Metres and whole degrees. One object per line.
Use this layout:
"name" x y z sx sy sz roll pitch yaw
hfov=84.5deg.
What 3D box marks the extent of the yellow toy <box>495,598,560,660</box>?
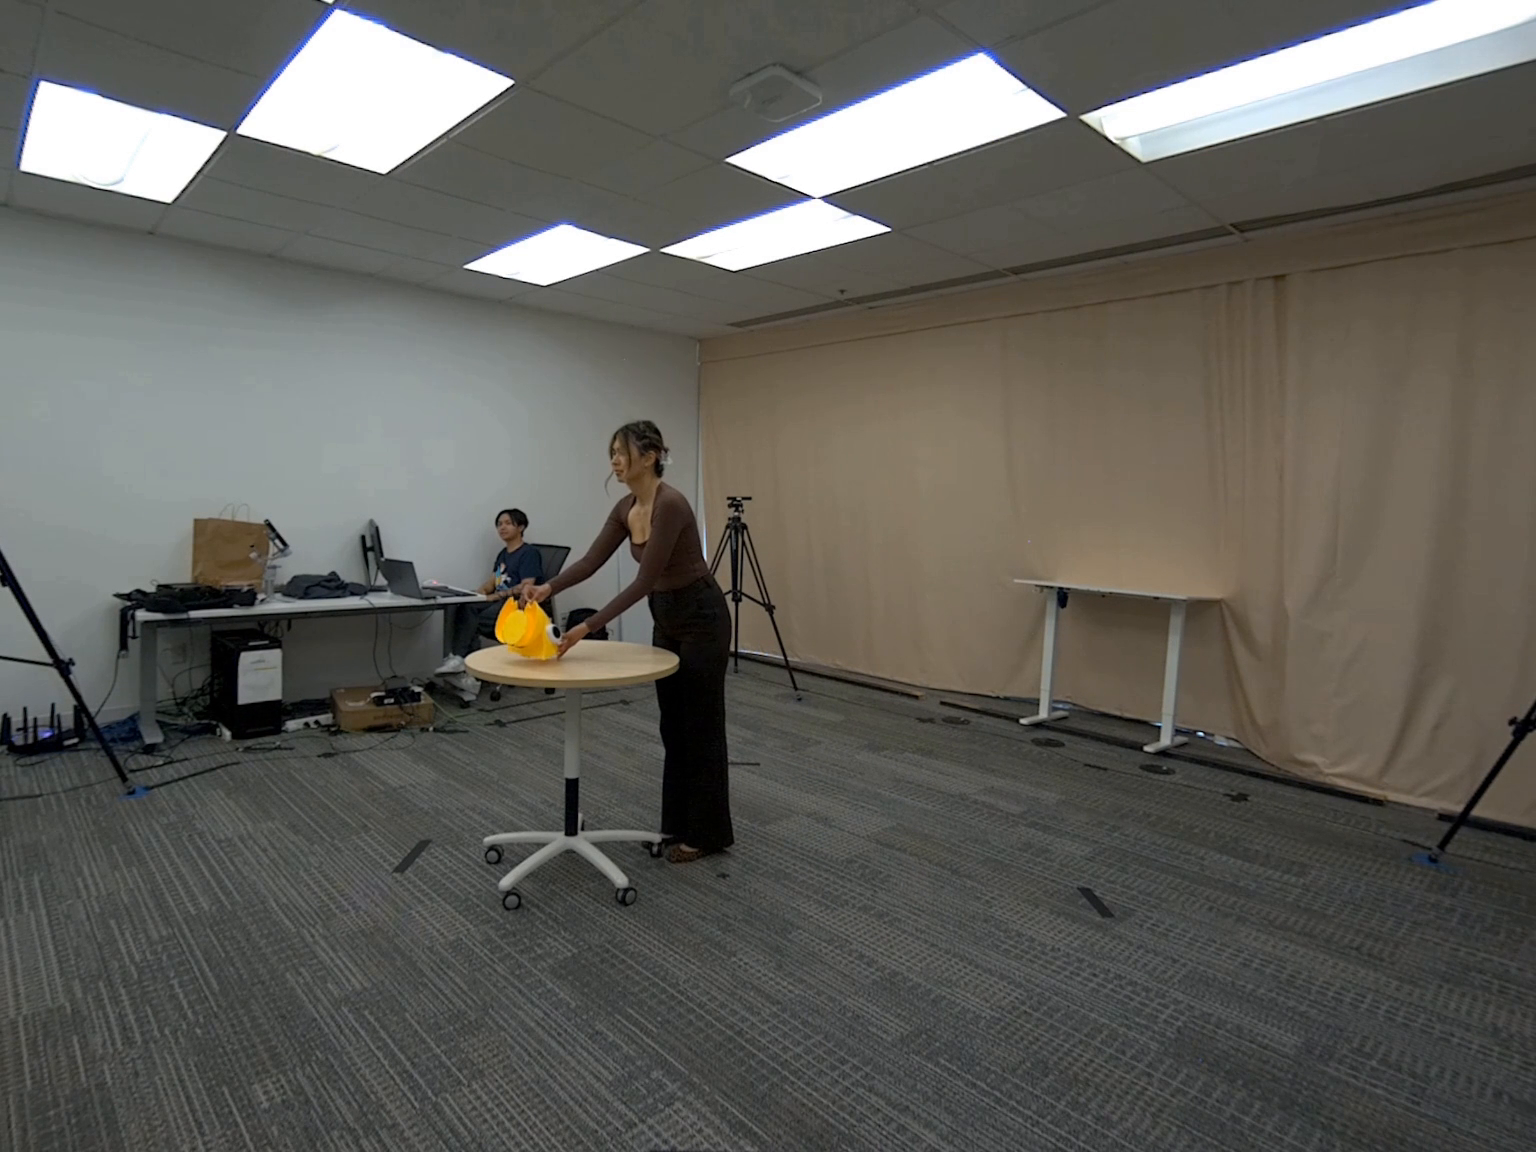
"yellow toy" -0.811 0.201 2.963 0.210 0.194 0.223 5 -14 36
